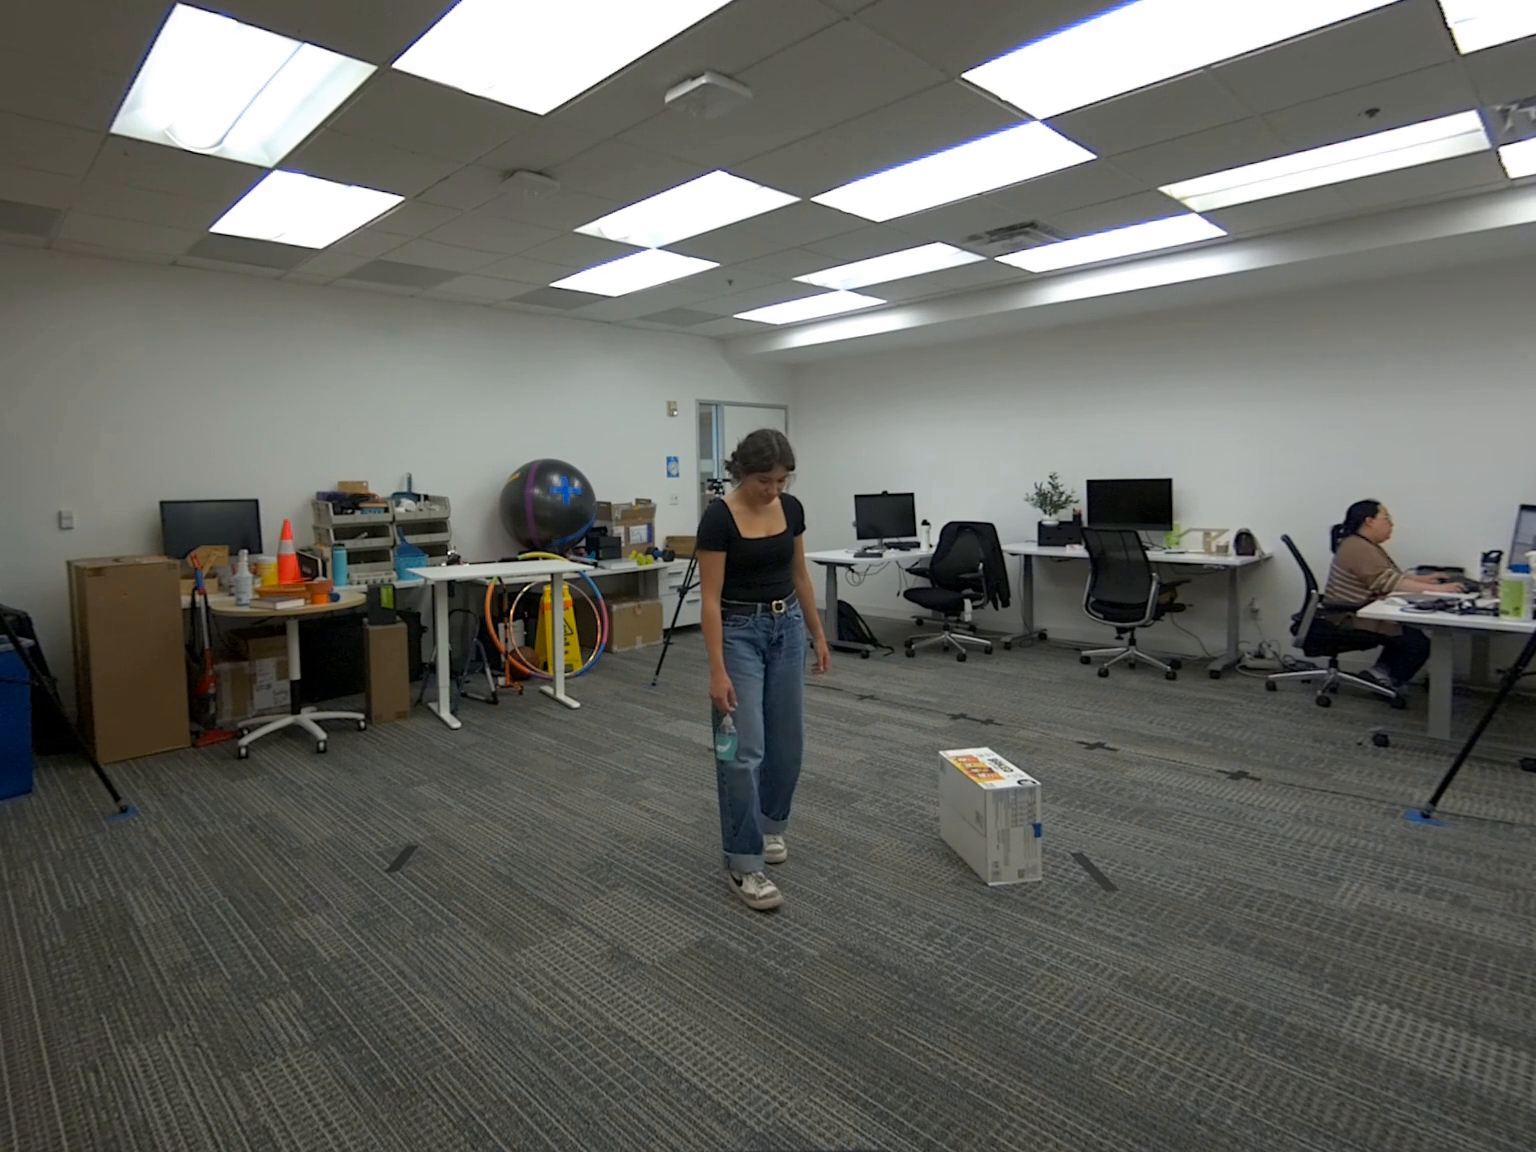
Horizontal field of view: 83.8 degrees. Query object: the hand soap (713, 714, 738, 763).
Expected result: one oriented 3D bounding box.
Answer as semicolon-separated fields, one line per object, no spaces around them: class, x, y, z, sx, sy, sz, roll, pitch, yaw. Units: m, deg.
hand soap;-0.133;0.514;2.781;0.042;0.169;0.087;6;-7;-40
